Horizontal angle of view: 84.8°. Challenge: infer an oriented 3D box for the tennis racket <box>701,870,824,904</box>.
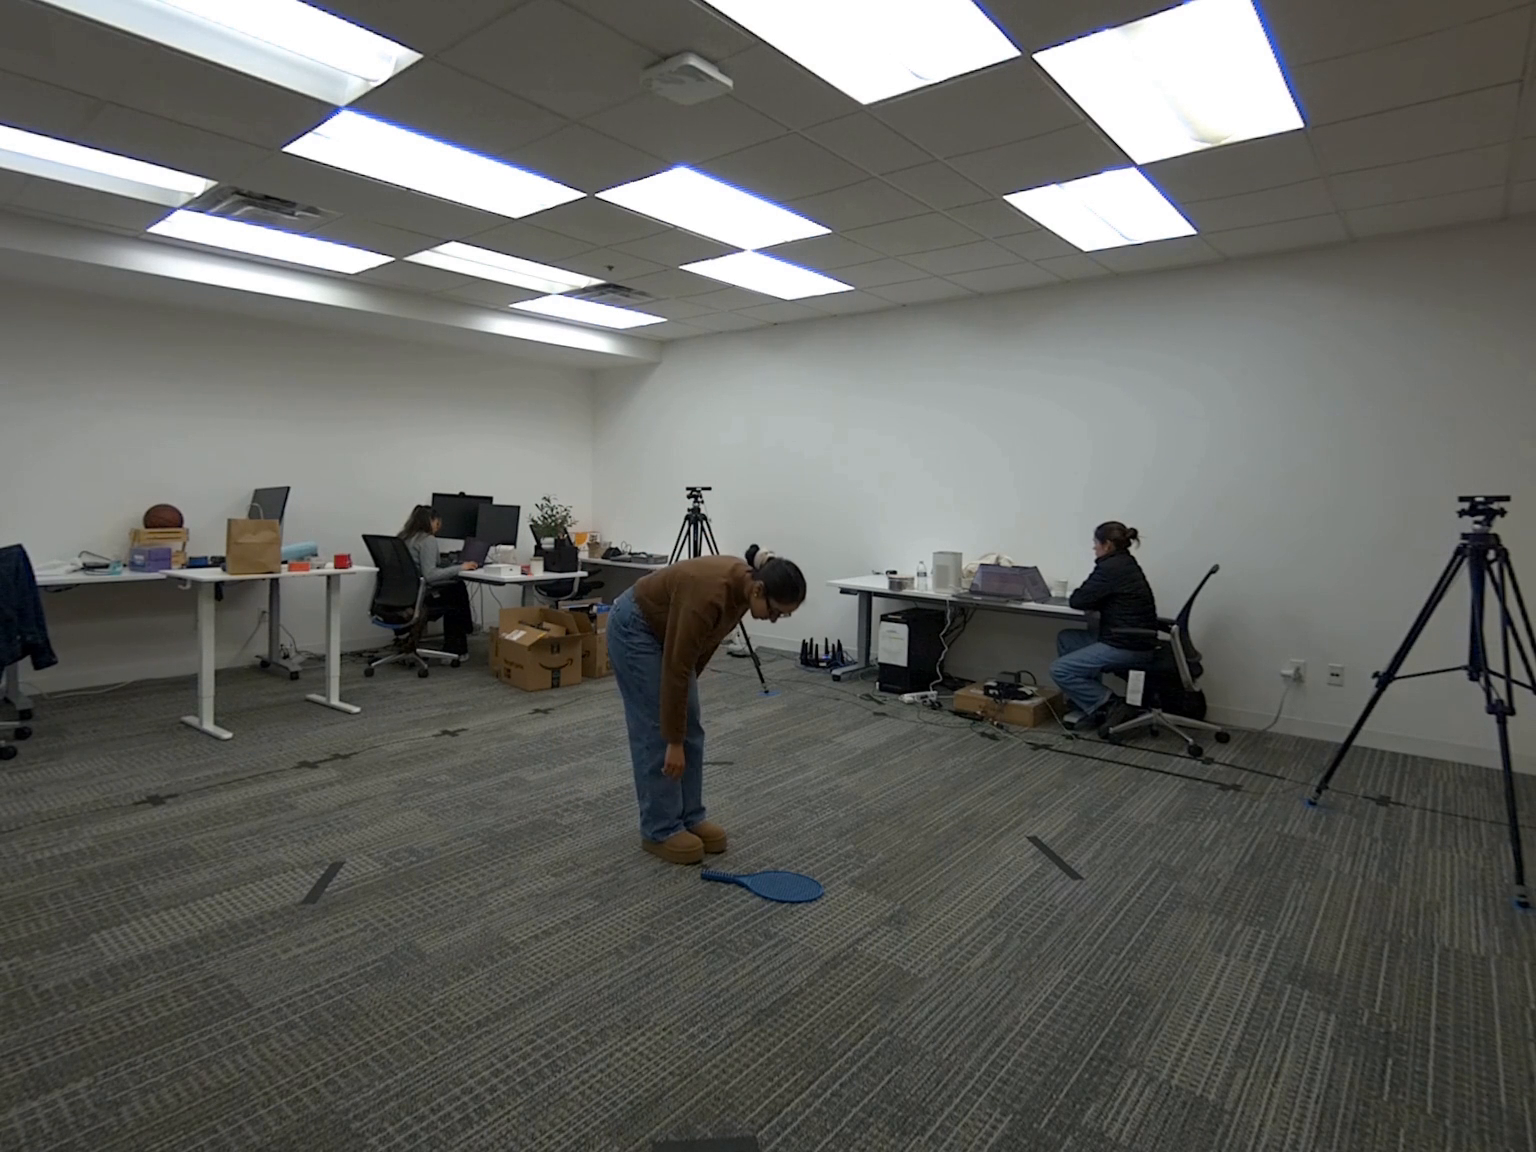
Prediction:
[{"bbox_3d":[-0.032,1.067,2.979,0.439,0.031,0.211,4,6,12],"label":"tennis racket"}]
